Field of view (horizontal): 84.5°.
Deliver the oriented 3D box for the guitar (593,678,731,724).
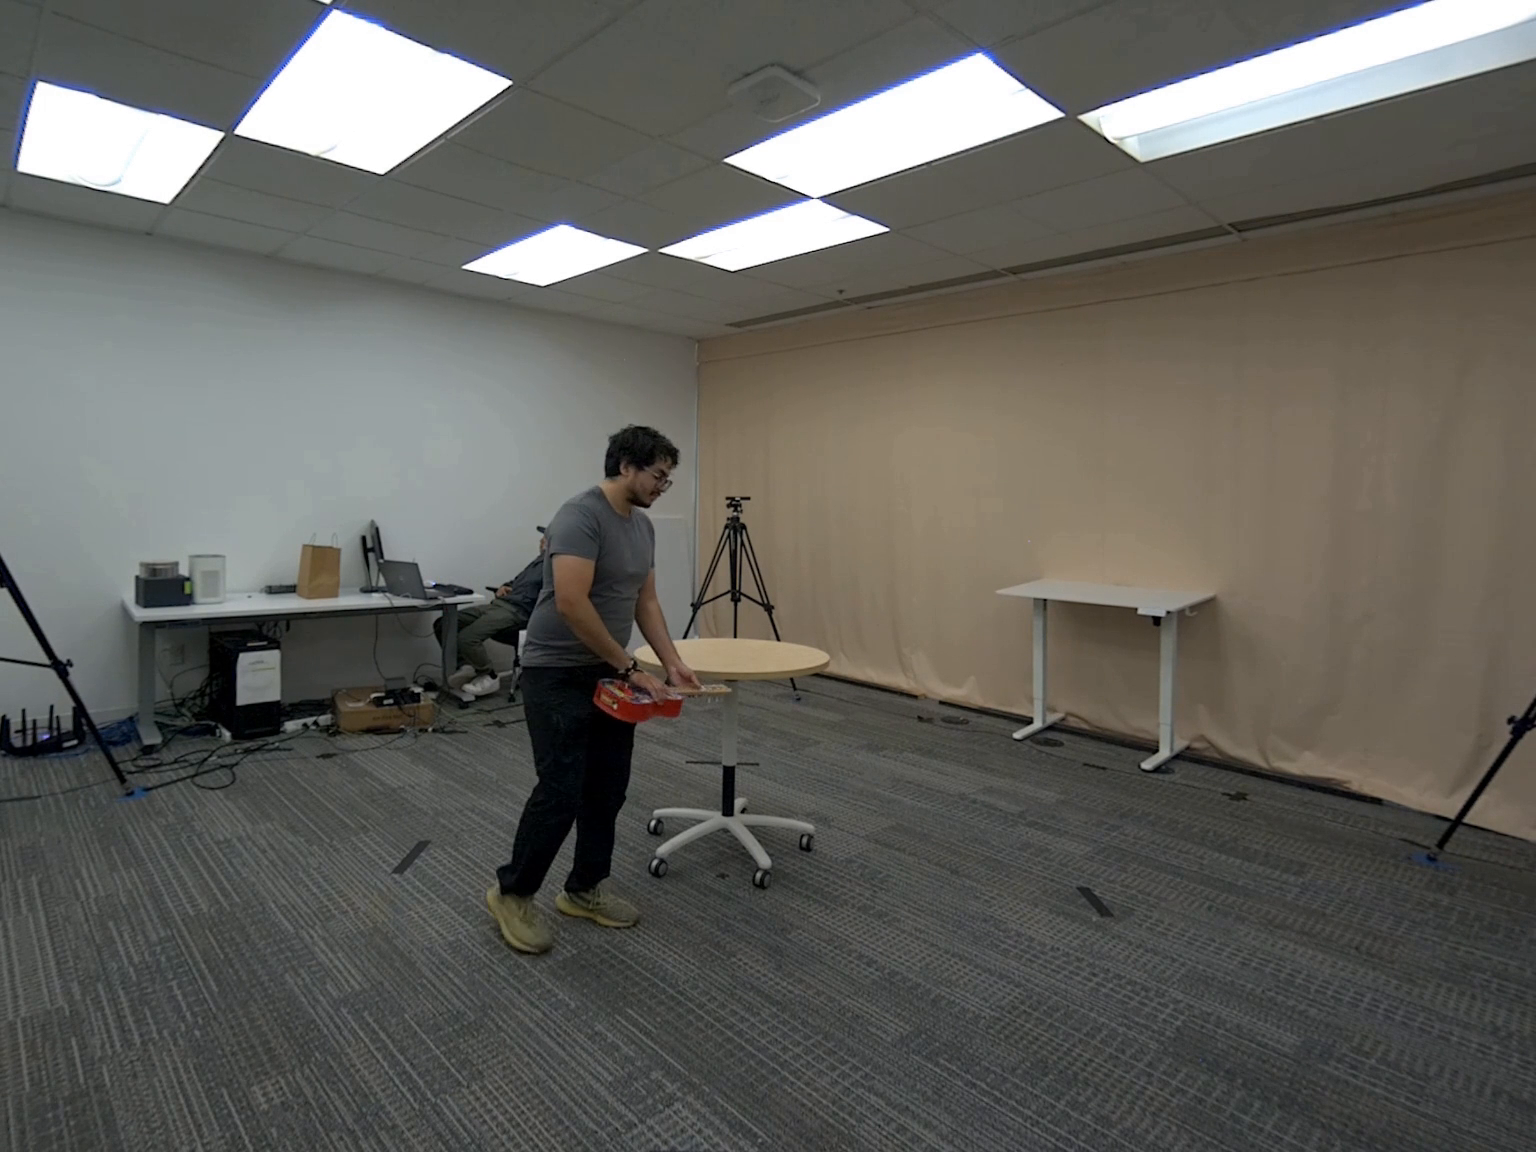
[{"bbox_3d":[-0.299,0.389,2.609,0.485,0.070,0.199,10,10,-36],"label":"guitar"}]
